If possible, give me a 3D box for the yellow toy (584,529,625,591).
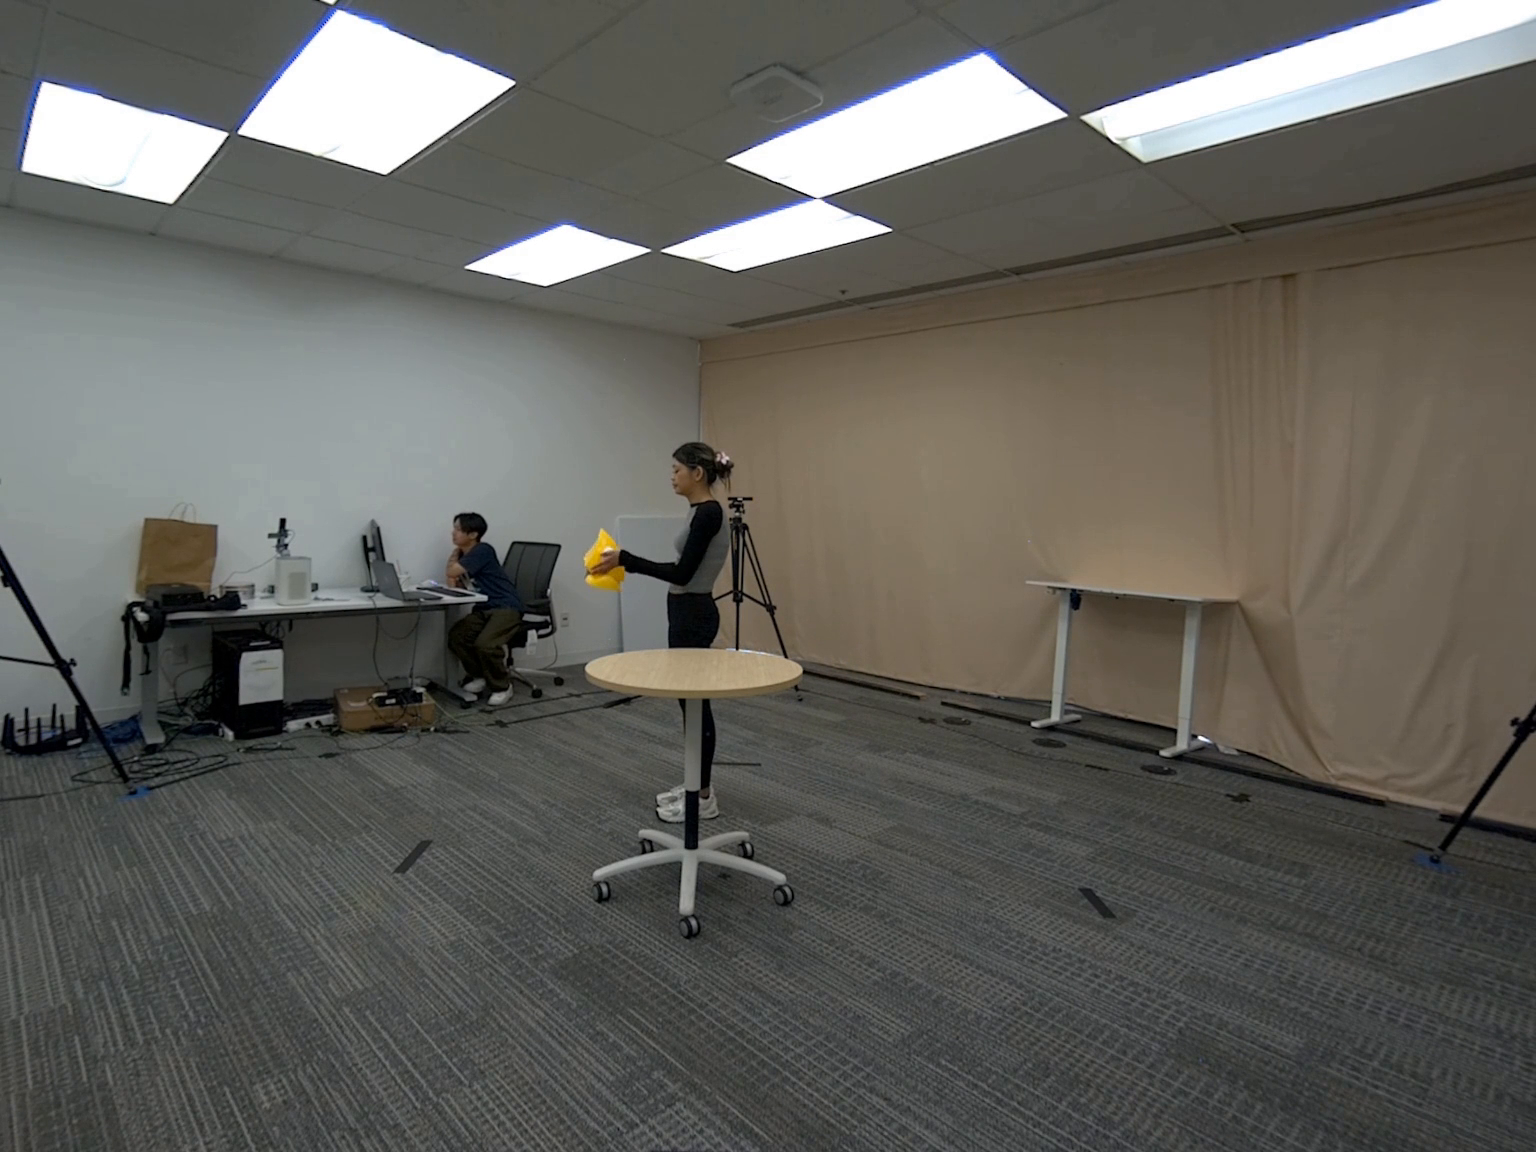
[{"bbox_3d":[-0.698,-0.082,3.652,0.191,0.229,0.208,14,10,-14],"label":"yellow toy"}]
